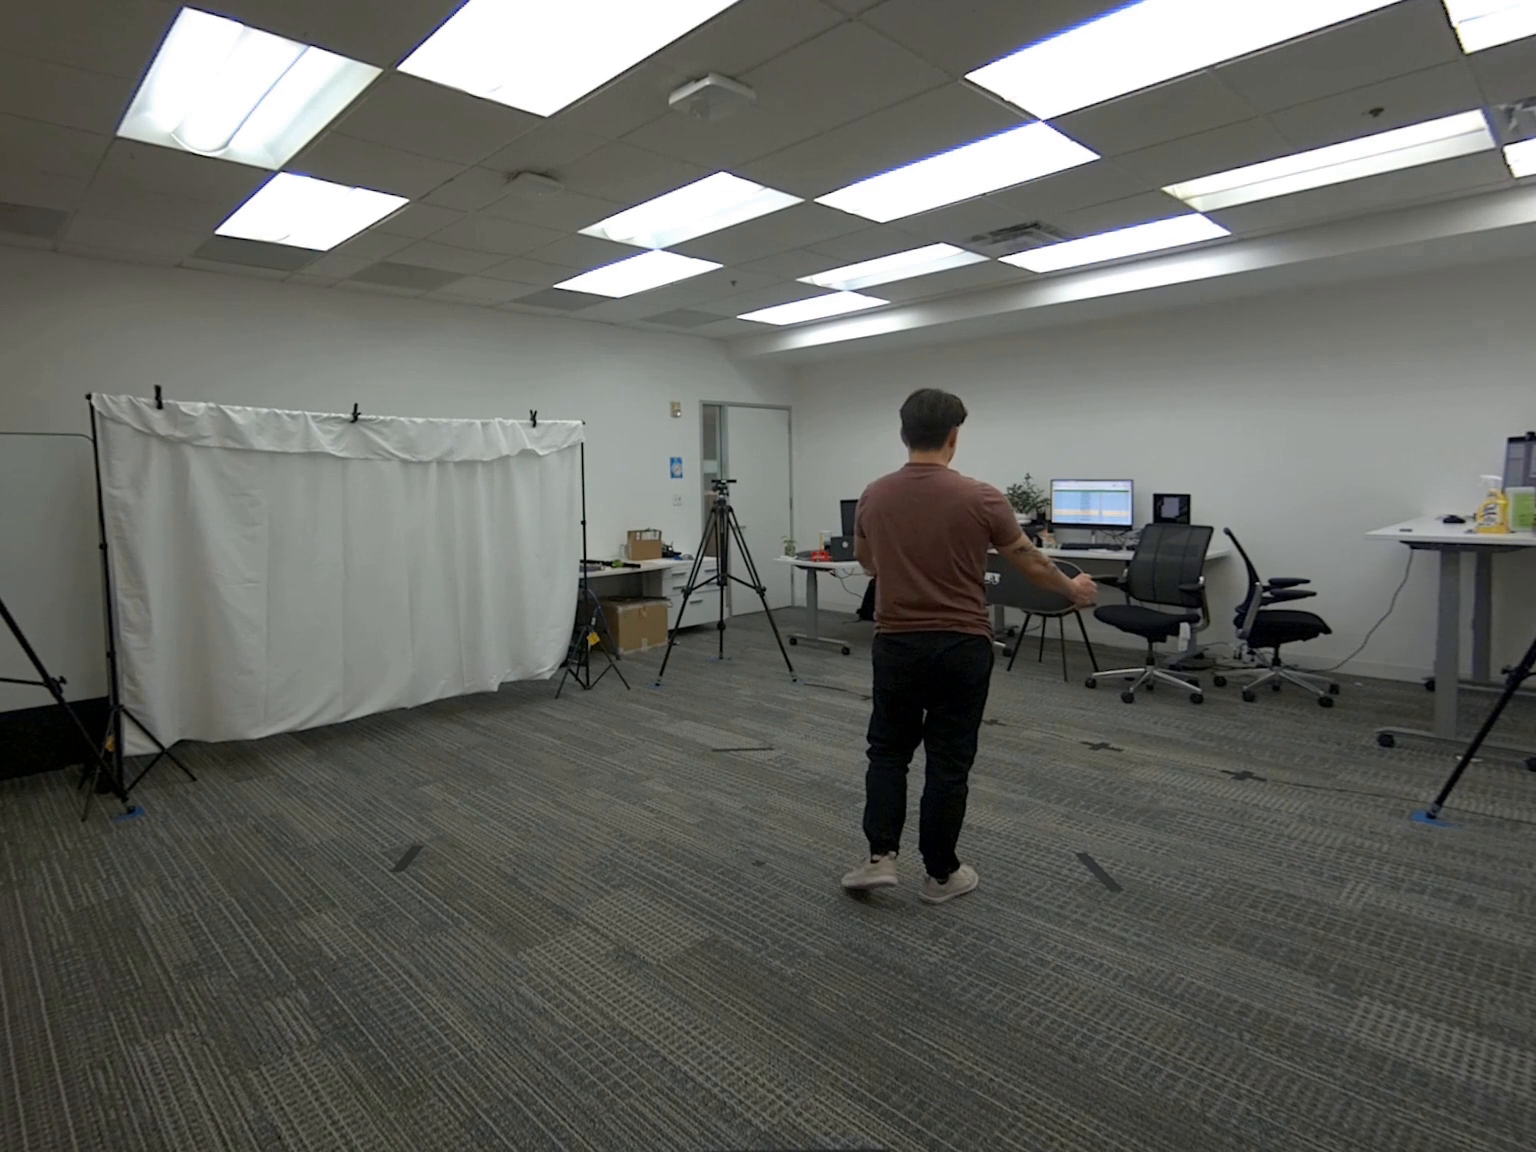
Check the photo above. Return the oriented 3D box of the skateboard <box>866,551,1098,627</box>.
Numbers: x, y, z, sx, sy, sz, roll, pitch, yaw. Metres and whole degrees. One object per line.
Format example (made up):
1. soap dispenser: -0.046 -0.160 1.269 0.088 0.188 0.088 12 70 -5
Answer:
1. skateboard: 0.764 0.009 3.149 0.809 0.195 0.106 9 -14 33
